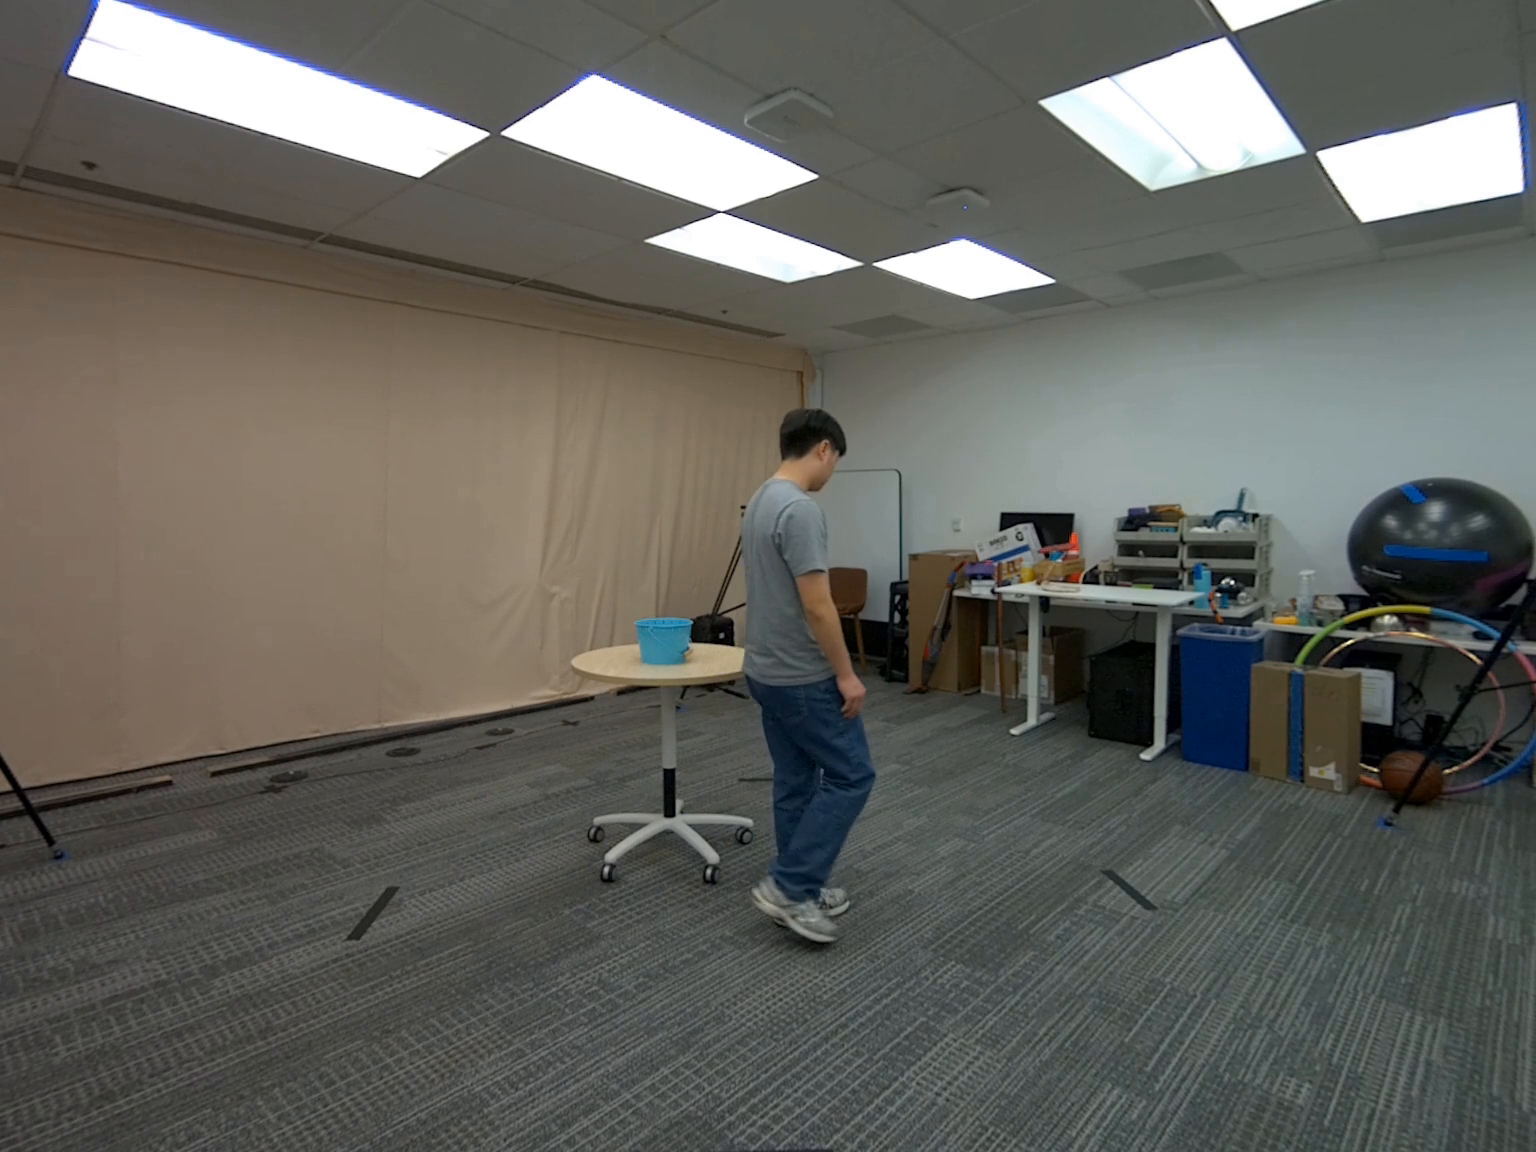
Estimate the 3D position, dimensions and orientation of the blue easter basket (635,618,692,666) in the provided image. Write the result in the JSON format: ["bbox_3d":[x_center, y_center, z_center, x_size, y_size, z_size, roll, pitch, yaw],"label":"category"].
[{"bbox_3d":[-0.417,0.262,3.337,0.243,0.155,0.244,-1,4,-2],"label":"blue easter basket"}]
